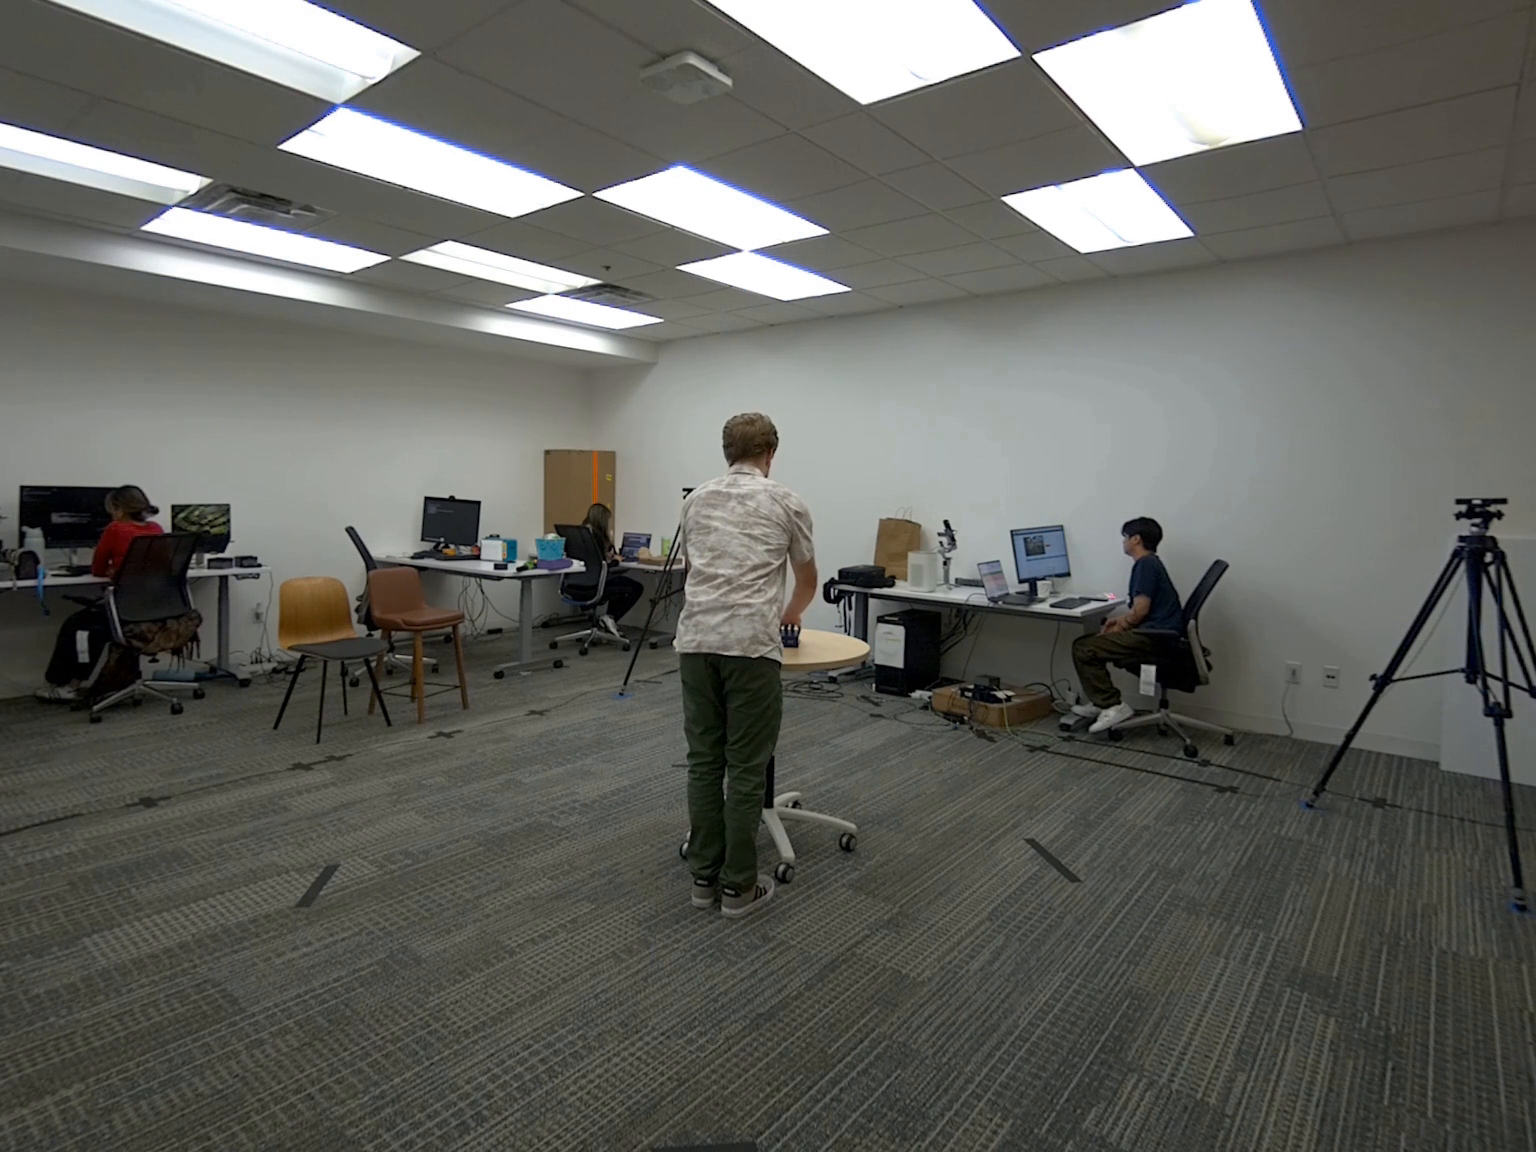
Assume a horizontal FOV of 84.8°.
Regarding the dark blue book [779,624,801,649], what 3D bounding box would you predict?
[{"bbox_3d":[0.001,0.239,3.340,0.247,0.045,0.163,1,6,7],"label":"dark blue book"}]
